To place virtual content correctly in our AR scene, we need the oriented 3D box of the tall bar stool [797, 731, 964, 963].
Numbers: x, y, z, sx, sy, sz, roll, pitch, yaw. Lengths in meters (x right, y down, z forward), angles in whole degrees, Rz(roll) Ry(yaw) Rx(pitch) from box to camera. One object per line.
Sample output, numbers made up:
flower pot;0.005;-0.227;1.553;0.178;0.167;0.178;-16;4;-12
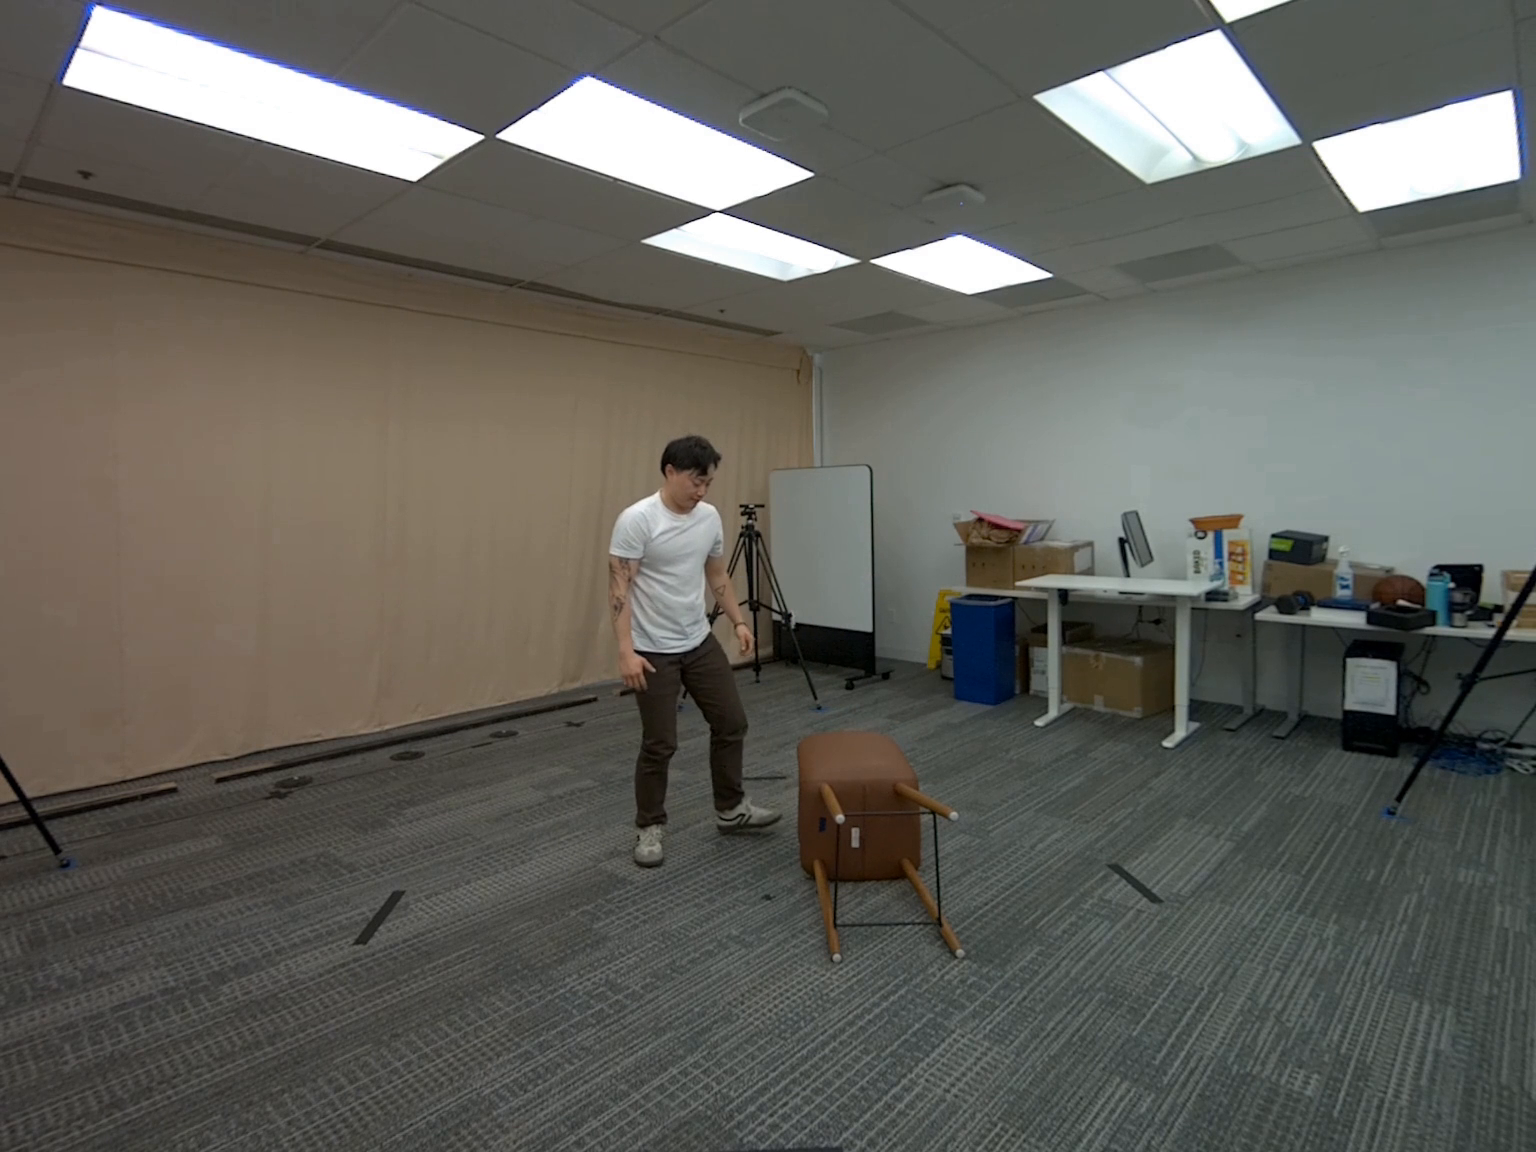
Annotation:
tall bar stool;0.357;0.902;2.983;0.455;0.466;0.896;-2;6;-5
